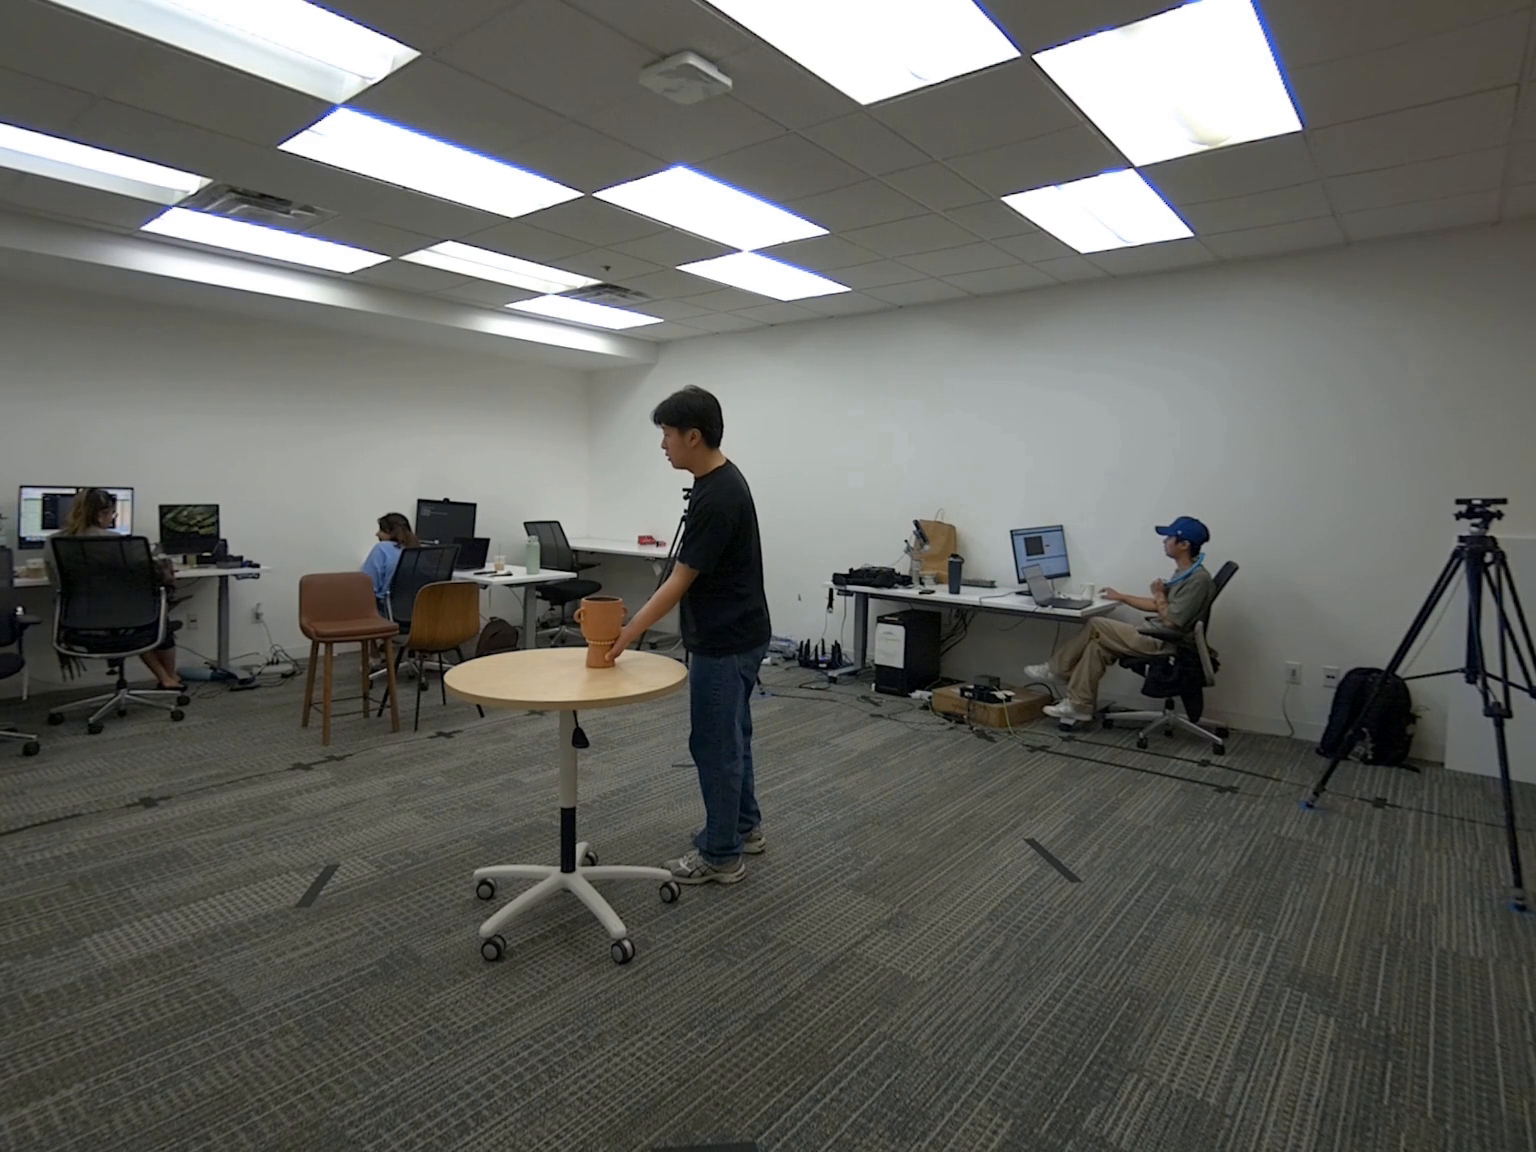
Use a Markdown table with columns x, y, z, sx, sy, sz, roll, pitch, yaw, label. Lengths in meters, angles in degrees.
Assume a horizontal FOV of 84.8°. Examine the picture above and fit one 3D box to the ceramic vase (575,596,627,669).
| x | y | z | sx | sy | sz | roll | pitch | yaw | label |
| --- | --- | --- | --- | --- | --- | --- | --- | --- | --- |
| -0.568 | 0.182 | 2.819 | 0.159 | 0.219 | 0.135 | 3 | 5 | 2 | ceramic vase |
